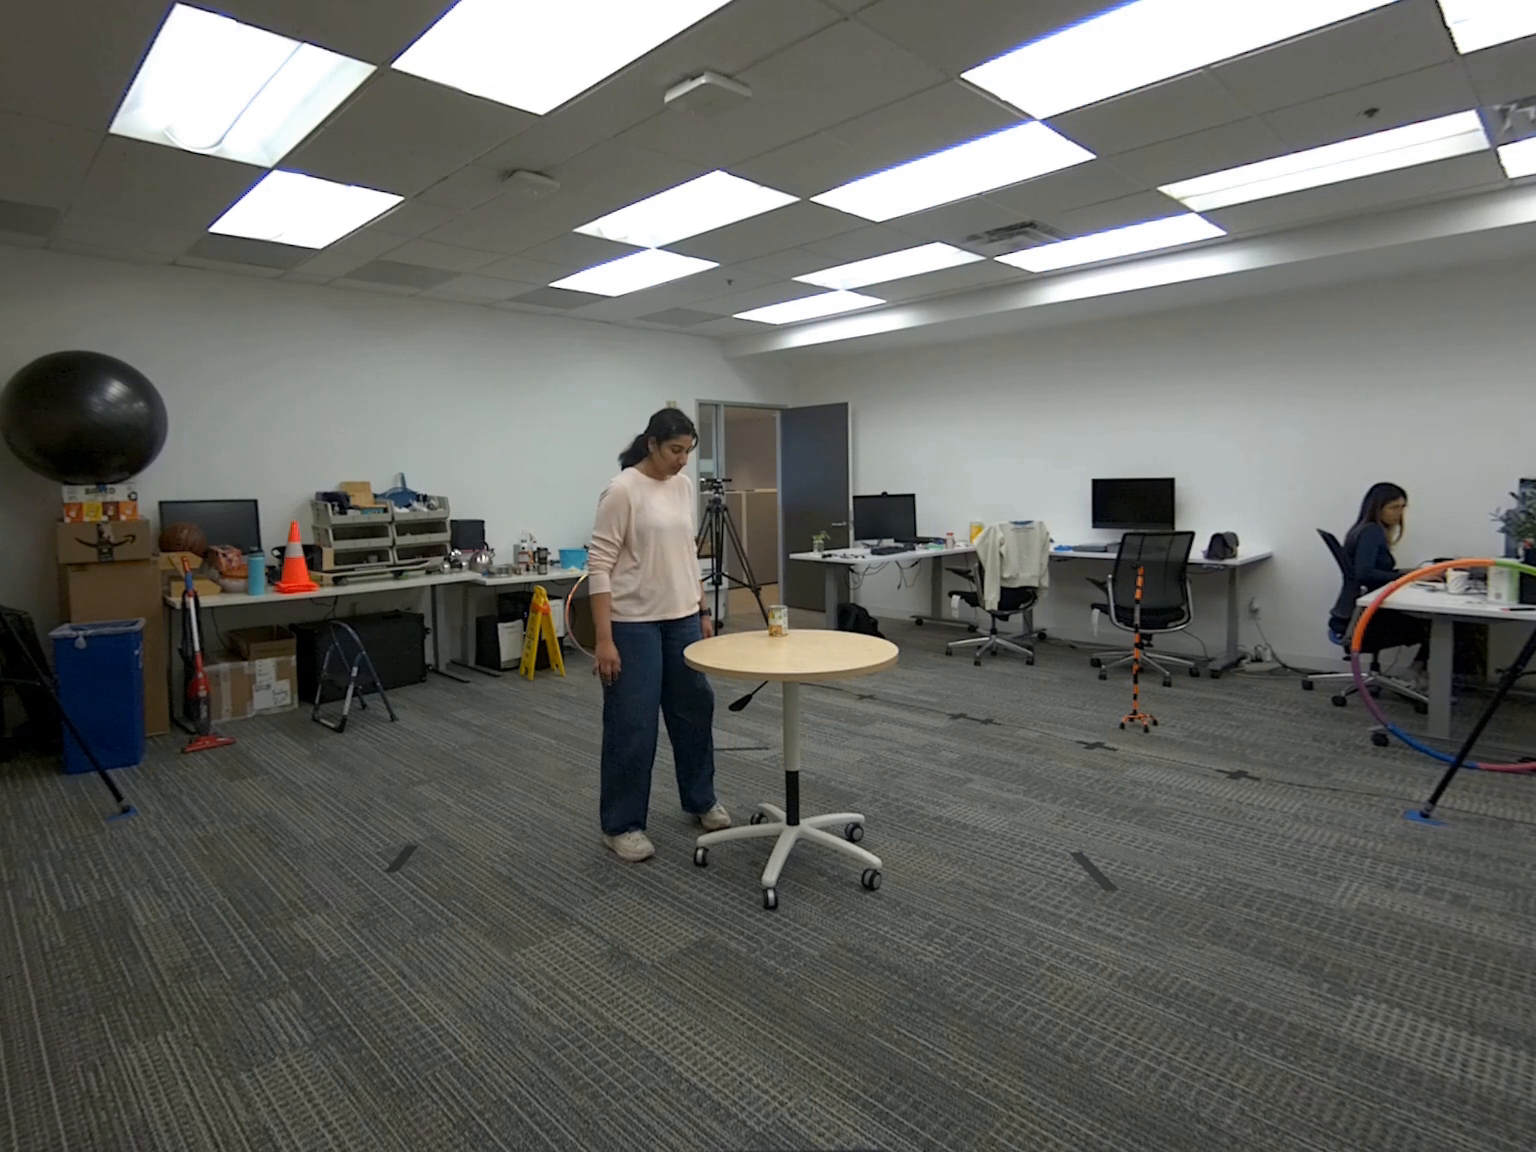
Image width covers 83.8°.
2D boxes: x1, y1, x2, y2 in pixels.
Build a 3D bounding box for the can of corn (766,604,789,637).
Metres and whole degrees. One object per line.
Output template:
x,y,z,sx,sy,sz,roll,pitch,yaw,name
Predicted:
0.037,0.176,3.331,0.074,0.110,0.074,-5,5,-1,can of corn
